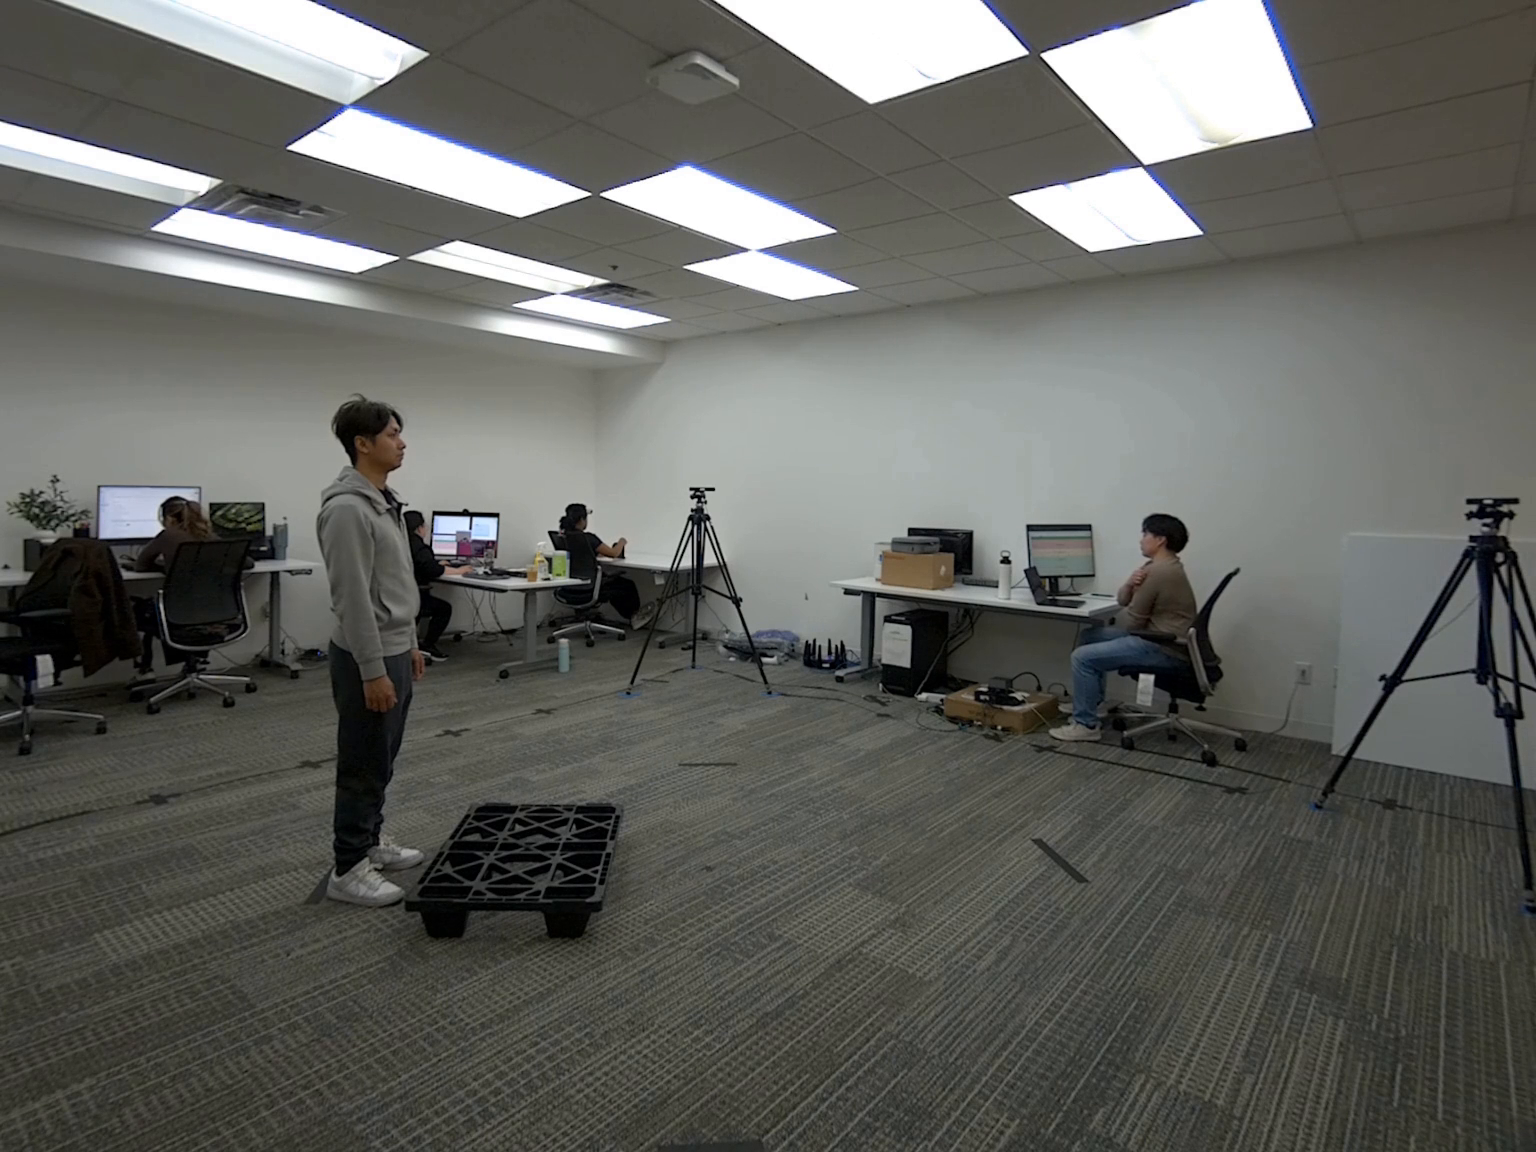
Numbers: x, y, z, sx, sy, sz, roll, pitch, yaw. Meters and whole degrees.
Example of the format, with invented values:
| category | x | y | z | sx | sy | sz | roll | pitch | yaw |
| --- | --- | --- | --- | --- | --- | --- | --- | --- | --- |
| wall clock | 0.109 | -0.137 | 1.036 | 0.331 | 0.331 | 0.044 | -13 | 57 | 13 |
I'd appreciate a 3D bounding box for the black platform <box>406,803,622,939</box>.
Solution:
| category | x | y | z | sx | sy | sz | roll | pitch | yaw |
| --- | --- | --- | --- | --- | --- | --- | --- | --- | --- |
| black platform | -0.844 | 1.000 | 2.970 | 0.603 | 0.143 | 0.811 | 1 | 6 | -4 |
